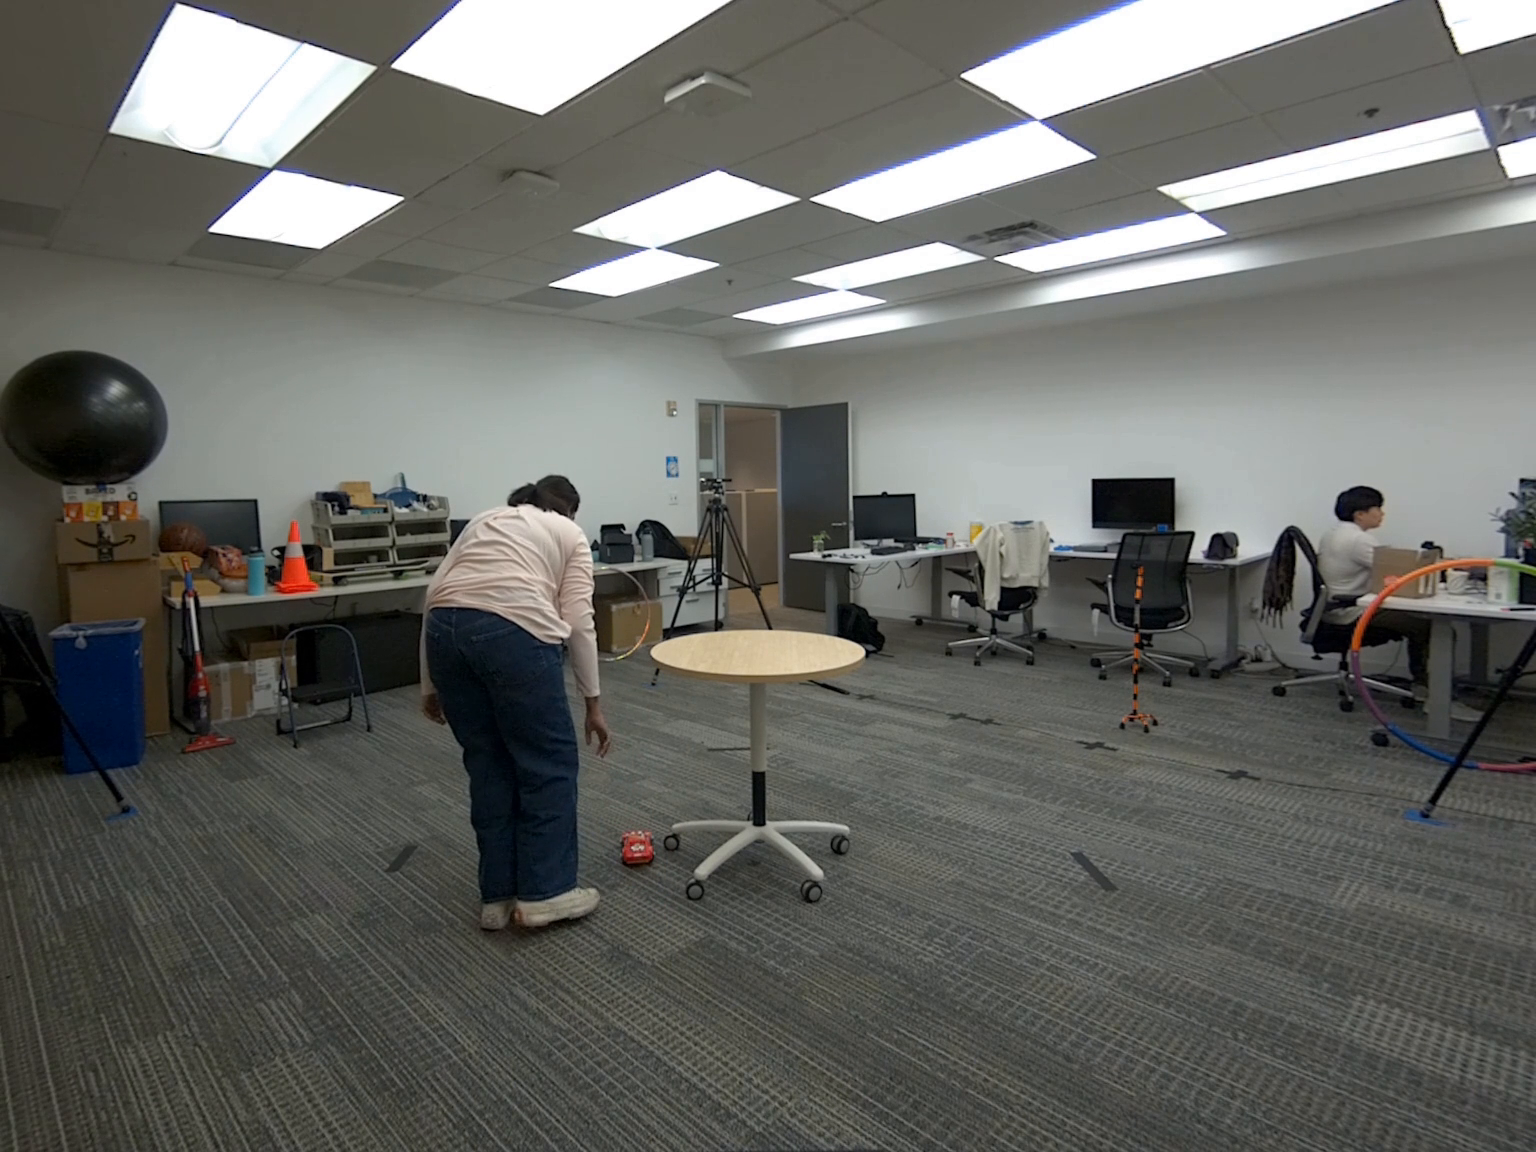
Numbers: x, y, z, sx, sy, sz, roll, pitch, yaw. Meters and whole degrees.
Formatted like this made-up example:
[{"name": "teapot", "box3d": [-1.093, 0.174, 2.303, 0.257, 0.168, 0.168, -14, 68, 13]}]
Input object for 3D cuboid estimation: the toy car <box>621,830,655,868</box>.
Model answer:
[{"name": "toy car", "box3d": [-0.482, 1.010, 3.170, 0.129, 0.084, 0.255, -3, -5, -11]}]
